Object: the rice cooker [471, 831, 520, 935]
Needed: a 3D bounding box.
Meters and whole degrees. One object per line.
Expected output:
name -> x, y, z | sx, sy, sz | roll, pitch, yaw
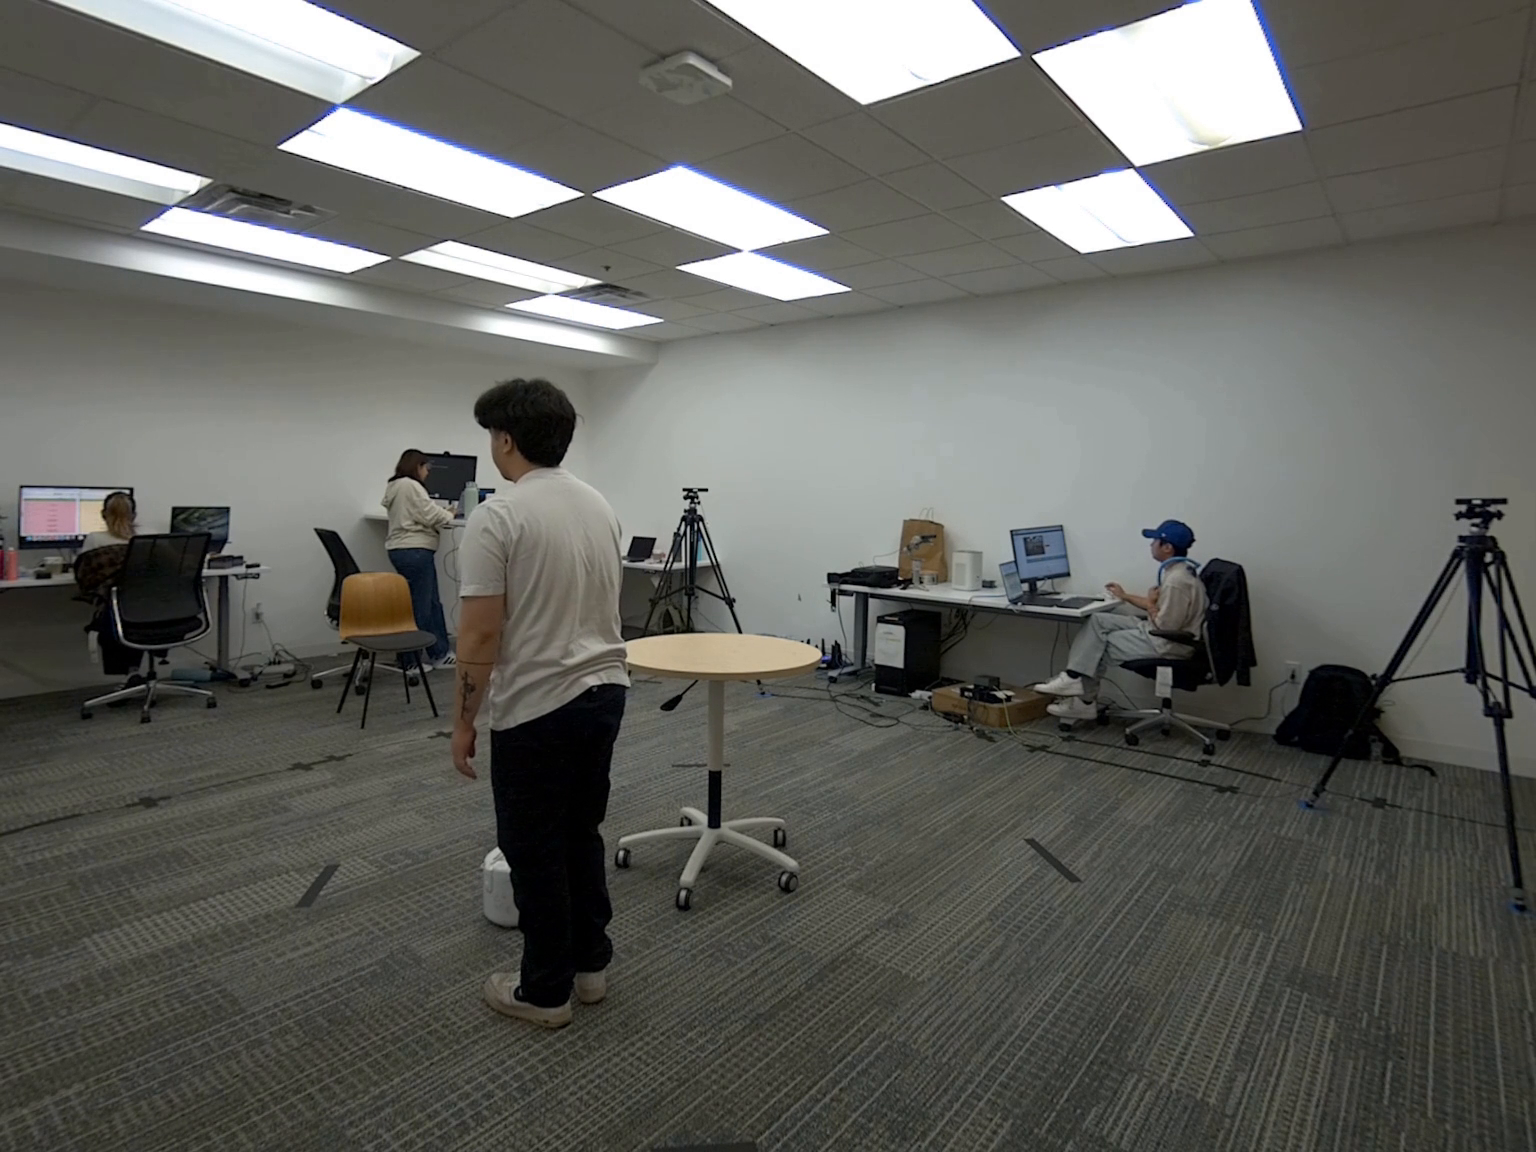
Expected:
rice cooker -> -0.815, 0.976, 2.747 | 0.225, 0.232, 0.214 | 4, 5, 44
